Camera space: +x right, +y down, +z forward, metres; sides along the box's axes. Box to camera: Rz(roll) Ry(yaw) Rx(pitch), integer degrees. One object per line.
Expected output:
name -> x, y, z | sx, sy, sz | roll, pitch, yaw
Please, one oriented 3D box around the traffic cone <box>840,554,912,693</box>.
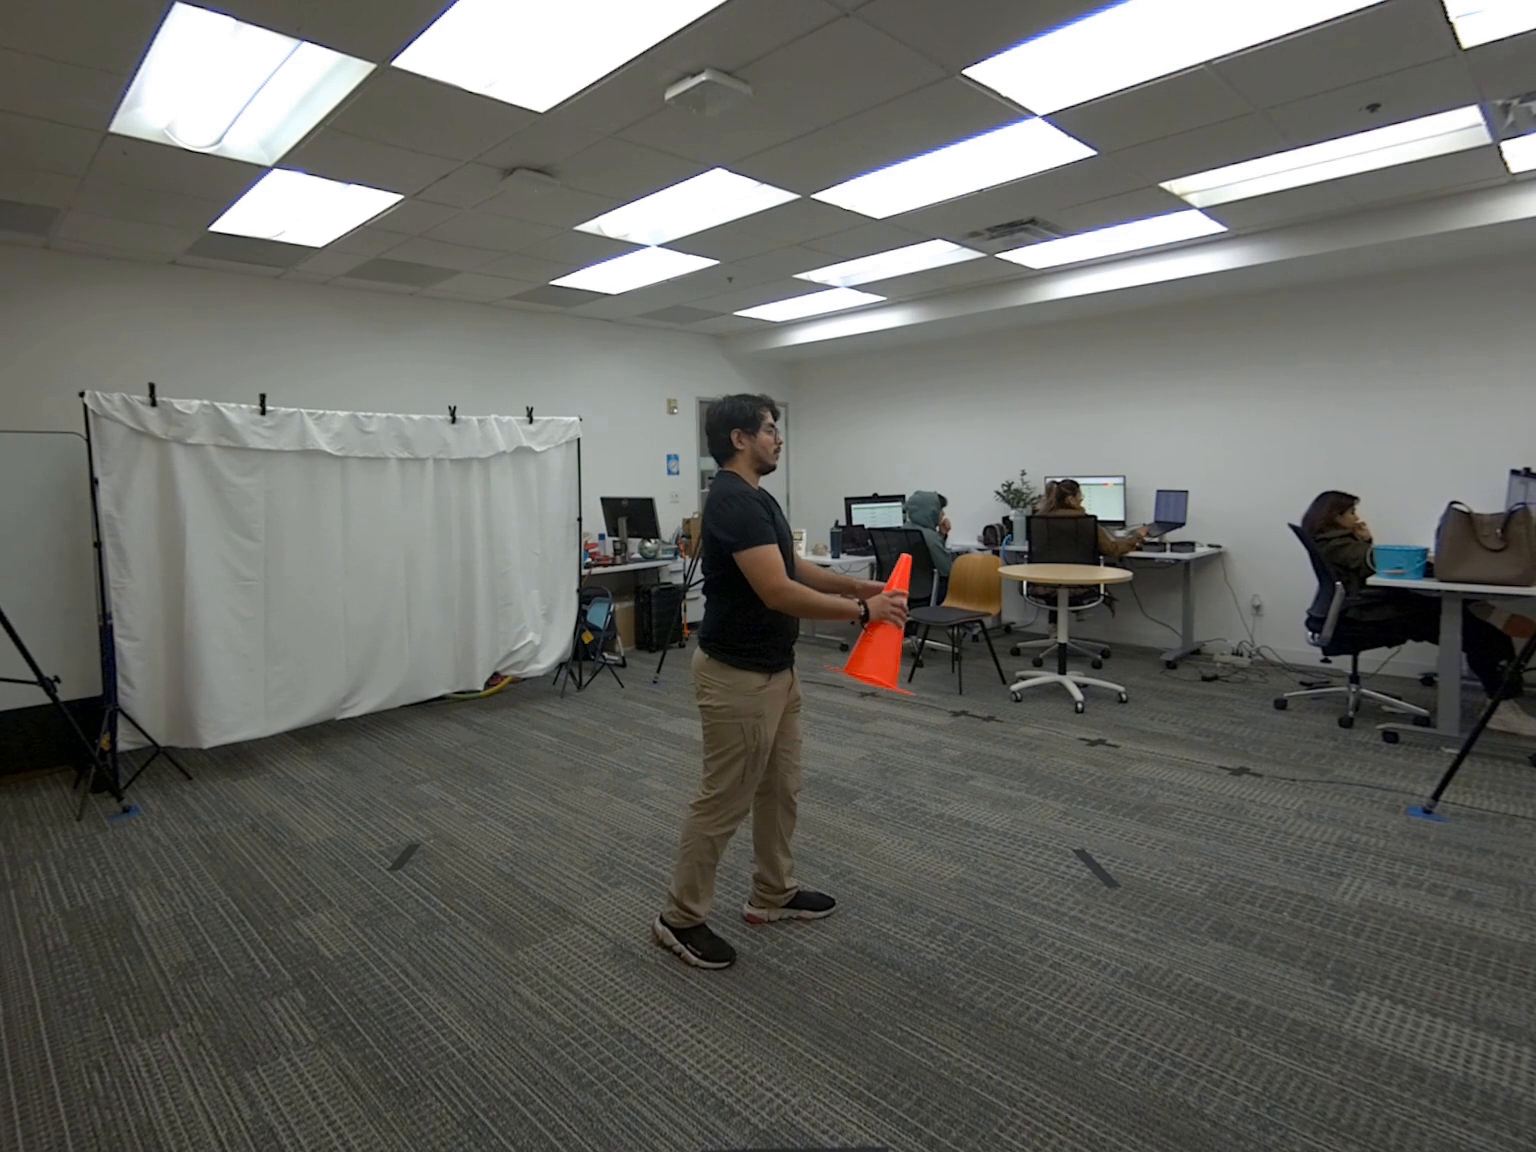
traffic cone -> 0.333, 0.128, 2.445 | 0.197, 0.385, 0.211 | 22, -8, -33
